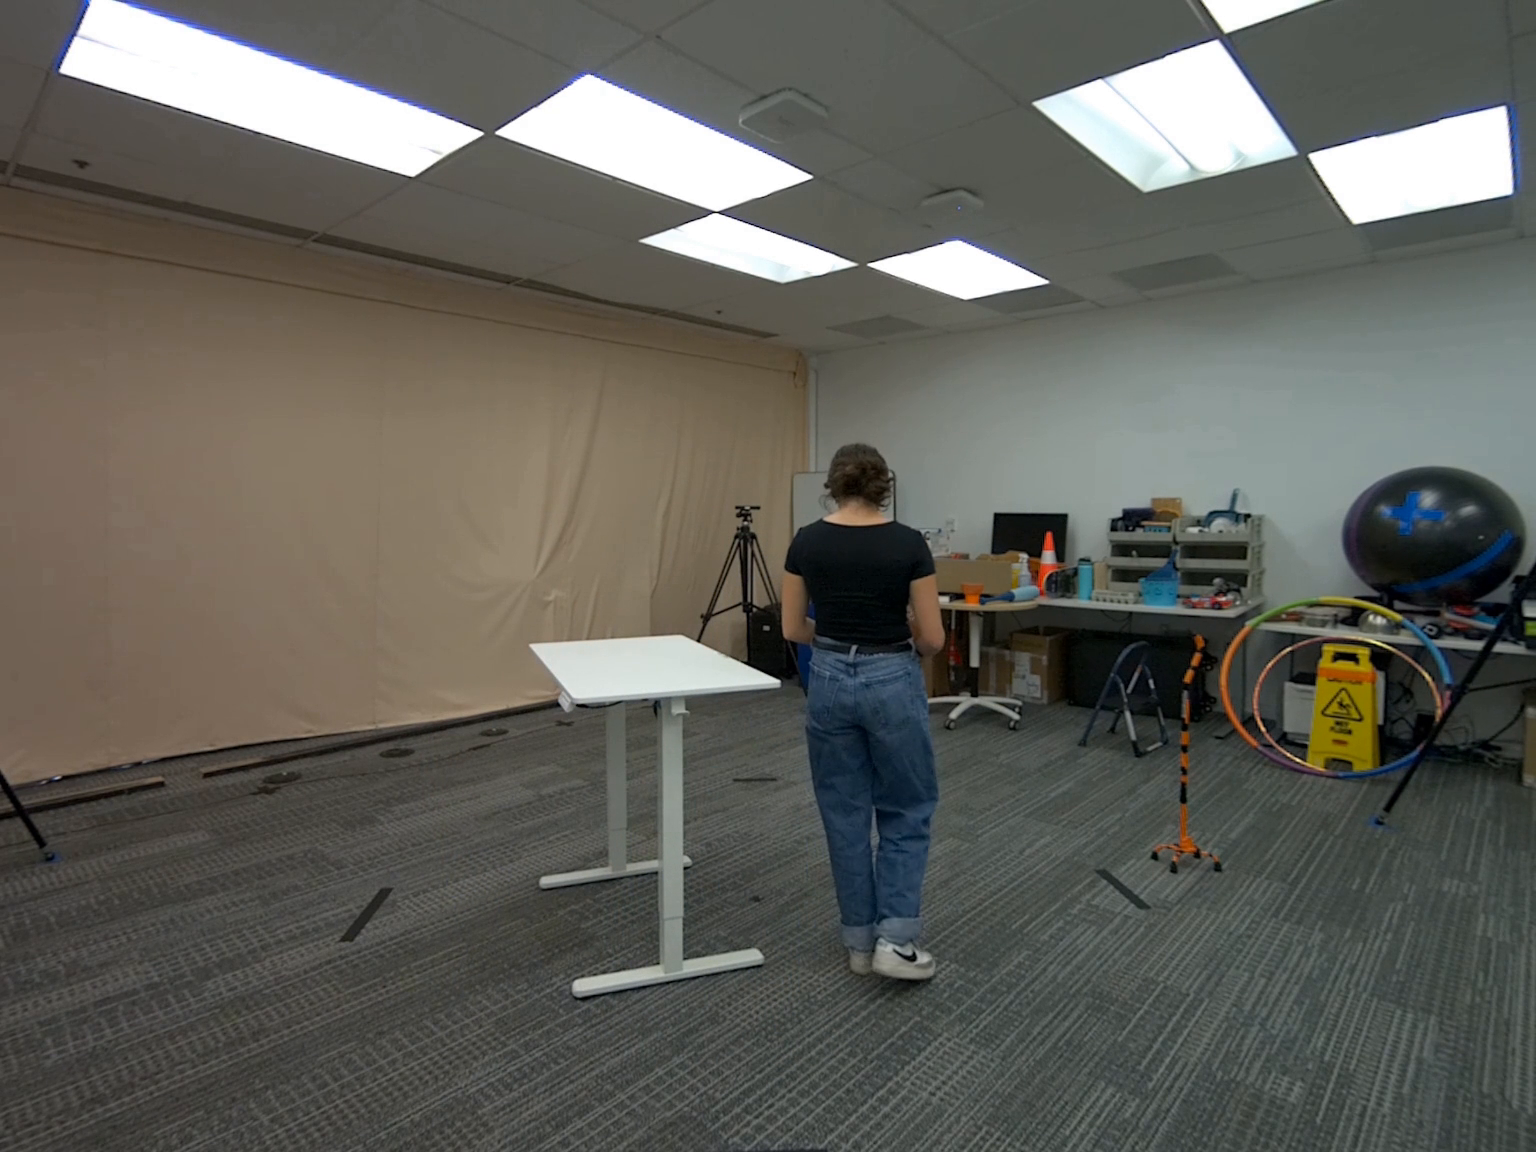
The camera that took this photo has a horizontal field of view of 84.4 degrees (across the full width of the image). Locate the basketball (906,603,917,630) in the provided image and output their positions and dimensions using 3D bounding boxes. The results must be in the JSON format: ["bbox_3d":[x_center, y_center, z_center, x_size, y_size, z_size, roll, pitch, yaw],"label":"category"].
[{"bbox_3d":[0.408,0.190,2.722,0.236,0.235,0.237,0,4,-2],"label":"basketball"}]
